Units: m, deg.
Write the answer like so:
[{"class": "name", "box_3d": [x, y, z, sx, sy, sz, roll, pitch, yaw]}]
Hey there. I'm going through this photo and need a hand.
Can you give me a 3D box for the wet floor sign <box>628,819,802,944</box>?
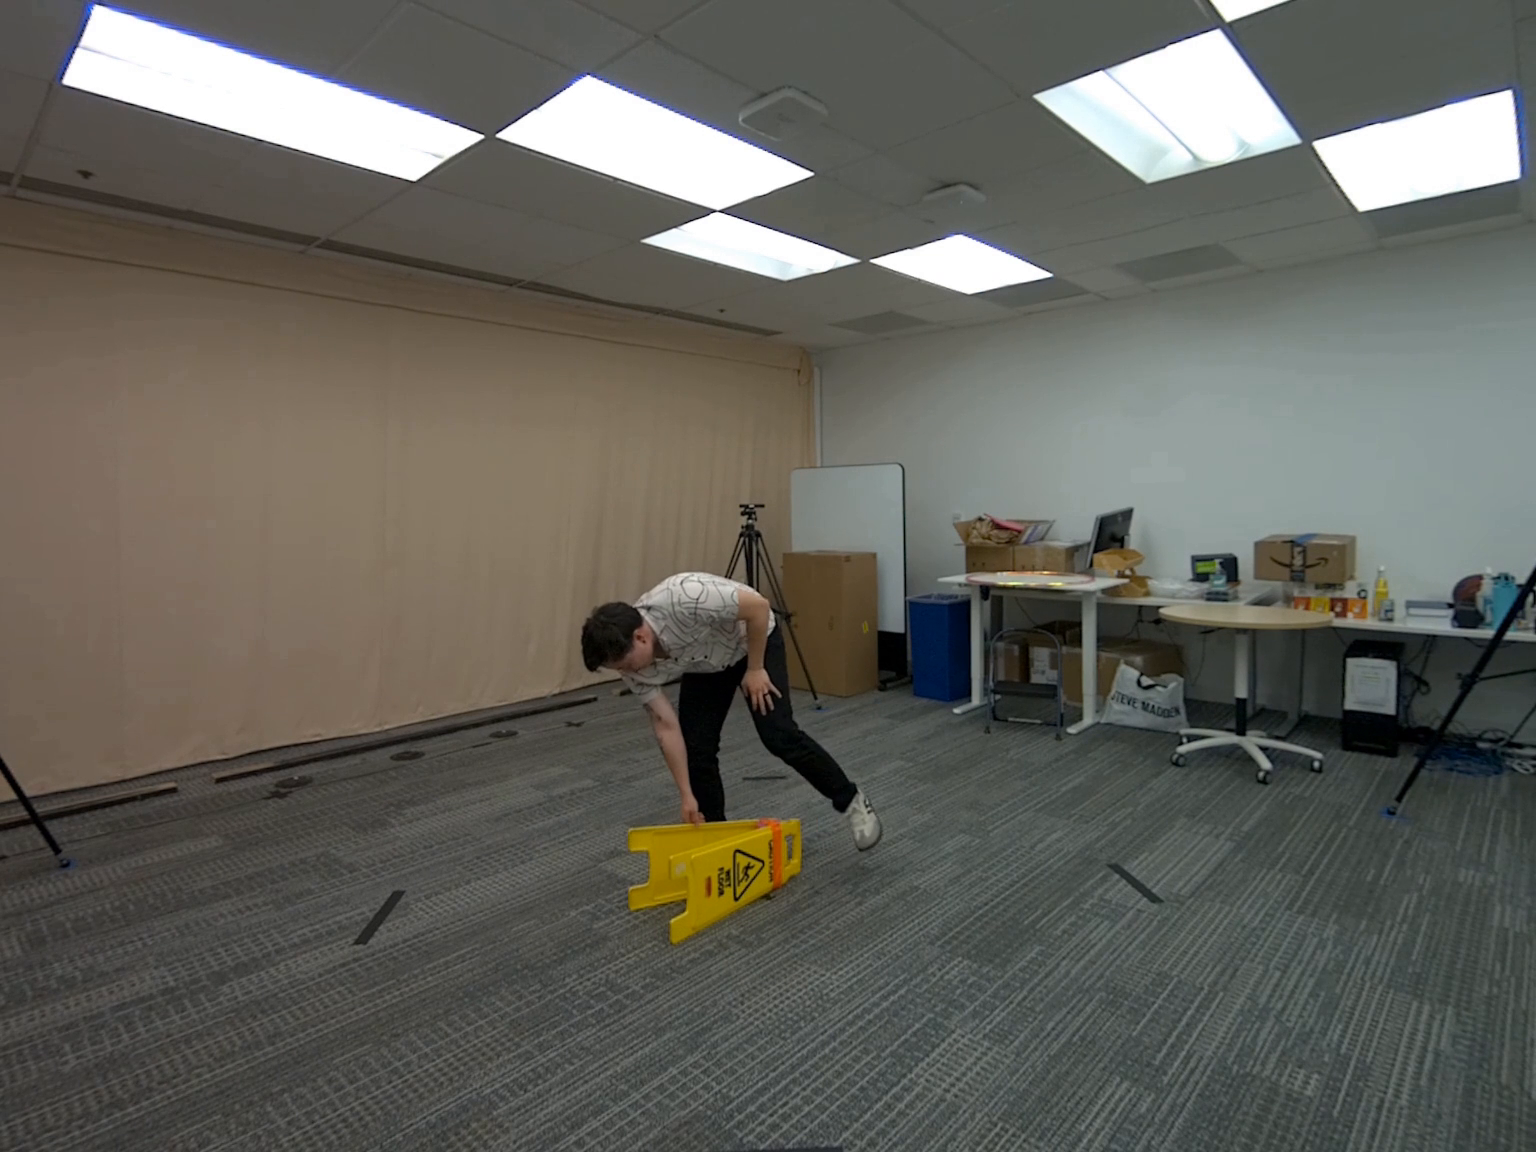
[{"class": "wet floor sign", "box_3d": [-0.136, 1.016, 2.965, 0.627, 0.282, 0.299, -2, 4, -34]}]
